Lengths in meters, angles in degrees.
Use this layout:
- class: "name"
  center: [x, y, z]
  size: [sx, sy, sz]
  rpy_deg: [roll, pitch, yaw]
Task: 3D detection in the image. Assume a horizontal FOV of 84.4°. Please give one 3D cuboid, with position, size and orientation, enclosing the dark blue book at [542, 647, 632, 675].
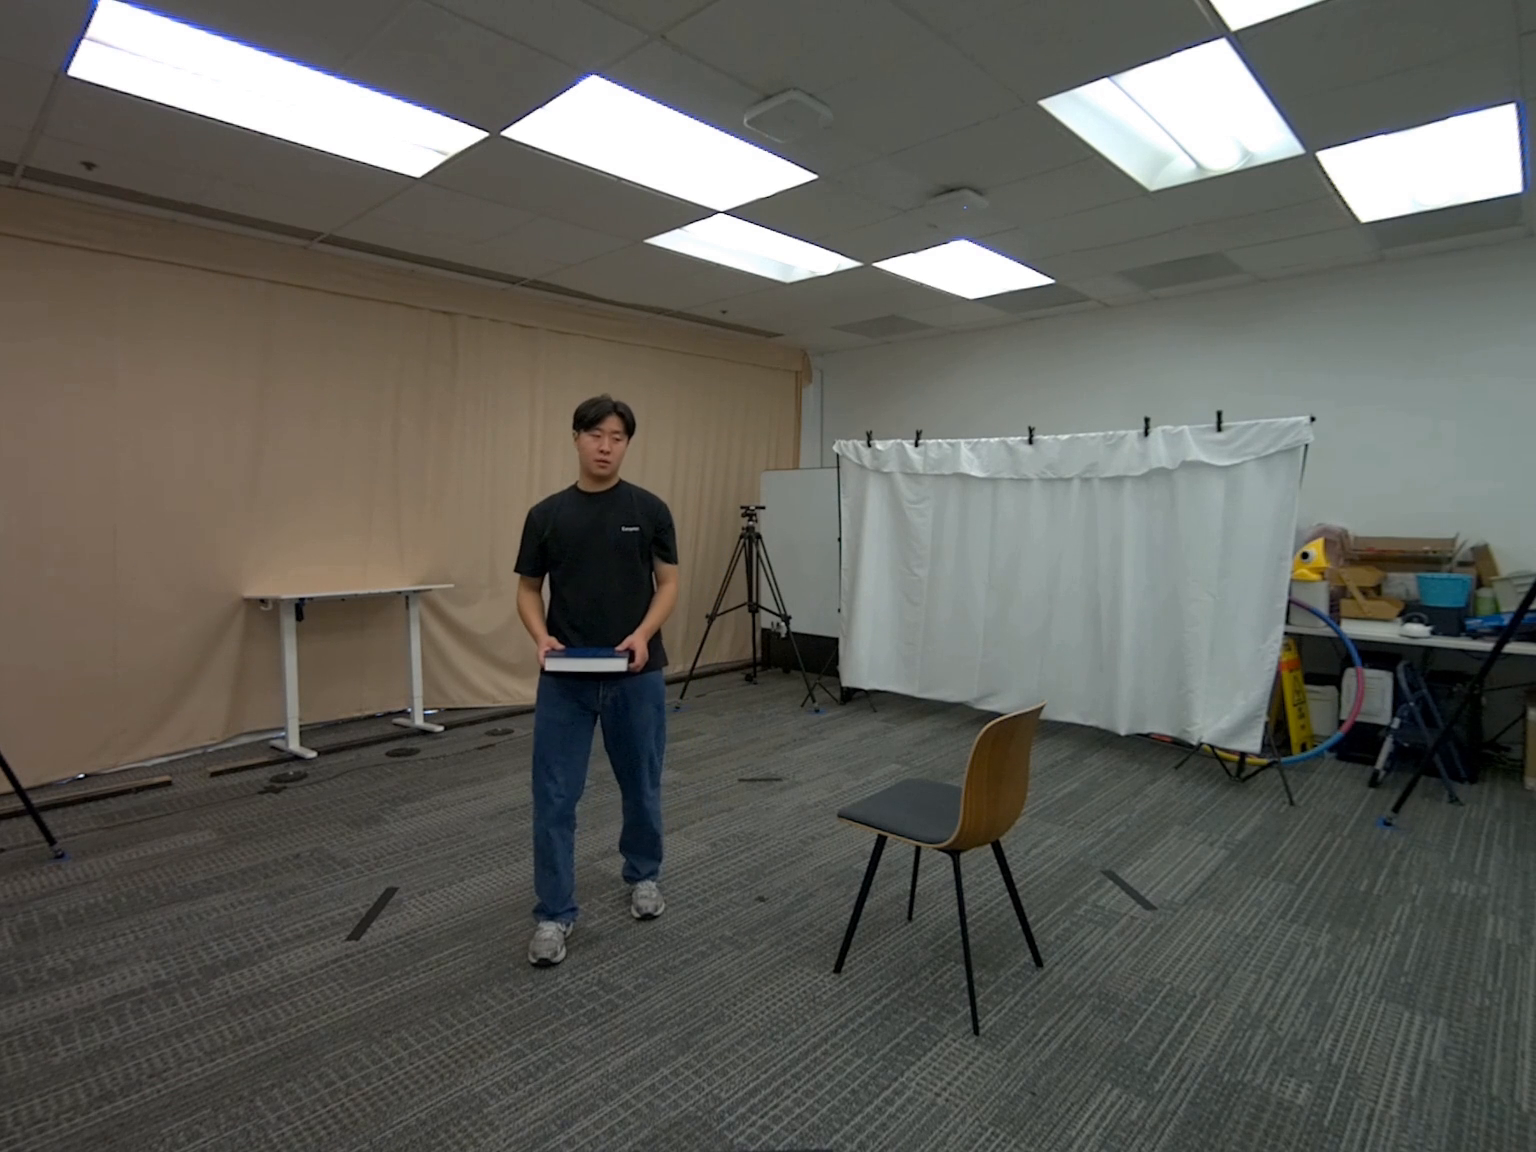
- class: "dark blue book"
  center: [-0.541, 0.255, 2.569]
  size: [0.243, 0.045, 0.165]
  rpy_deg: [0, 6, -6]
